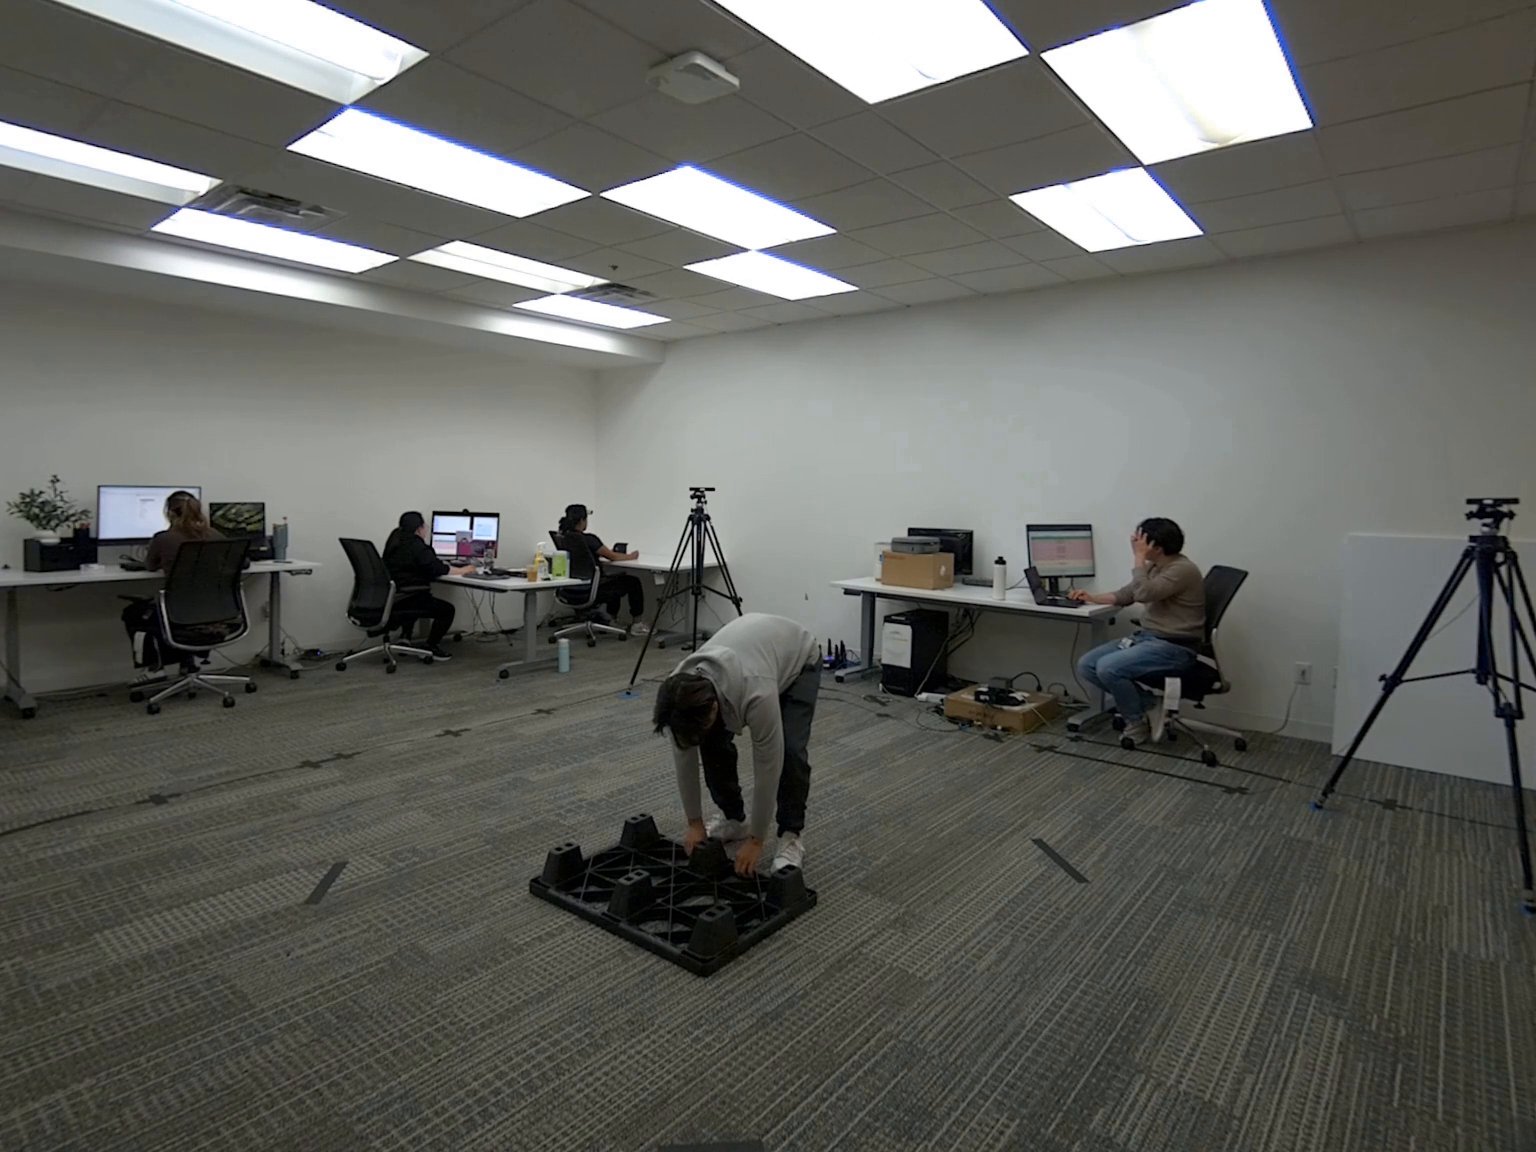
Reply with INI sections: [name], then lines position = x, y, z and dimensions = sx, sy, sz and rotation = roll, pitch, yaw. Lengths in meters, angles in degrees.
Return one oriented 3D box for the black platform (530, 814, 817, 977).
[black platform]
position = -0.338, 1.022, 2.880
dimensions = 0.832, 0.143, 0.588
rotation = 5, 6, 37
